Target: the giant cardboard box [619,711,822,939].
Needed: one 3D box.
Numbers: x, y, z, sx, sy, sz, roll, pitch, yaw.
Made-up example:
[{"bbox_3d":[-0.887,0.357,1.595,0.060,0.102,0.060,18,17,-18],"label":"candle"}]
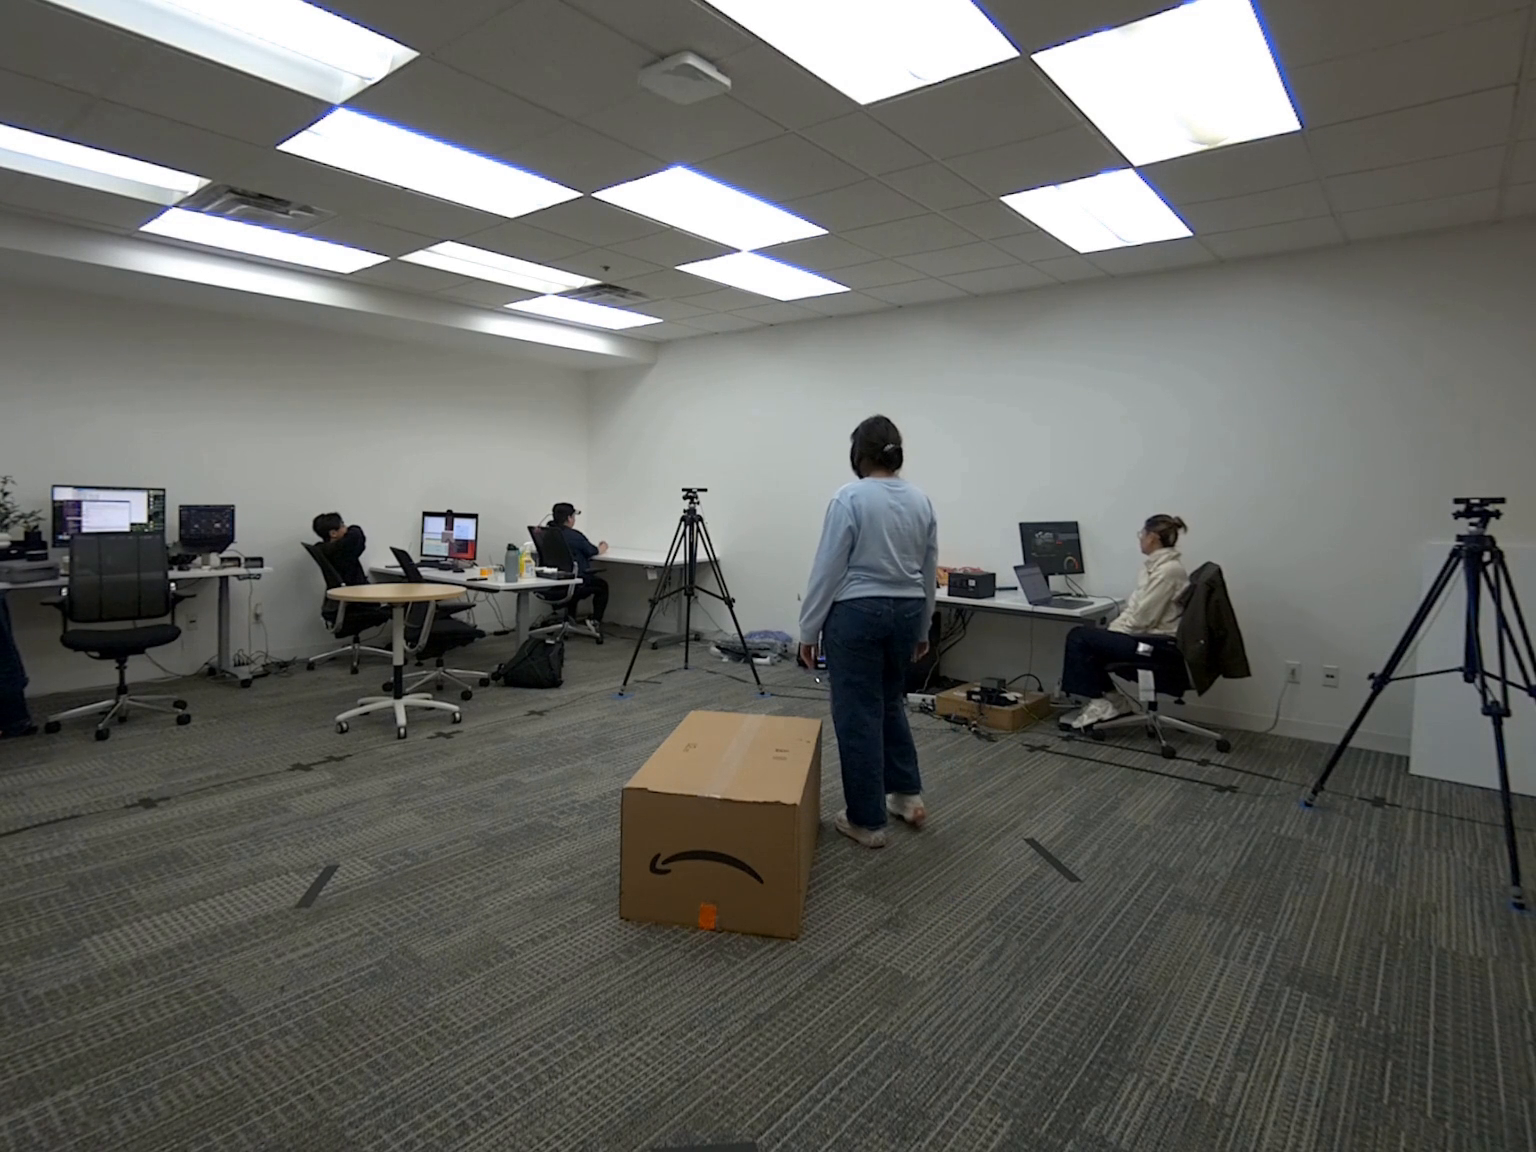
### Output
[{"bbox_3d":[-0.135,0.850,3.160,0.584,0.425,1.018,2,5,9],"label":"giant cardboard box"}]
